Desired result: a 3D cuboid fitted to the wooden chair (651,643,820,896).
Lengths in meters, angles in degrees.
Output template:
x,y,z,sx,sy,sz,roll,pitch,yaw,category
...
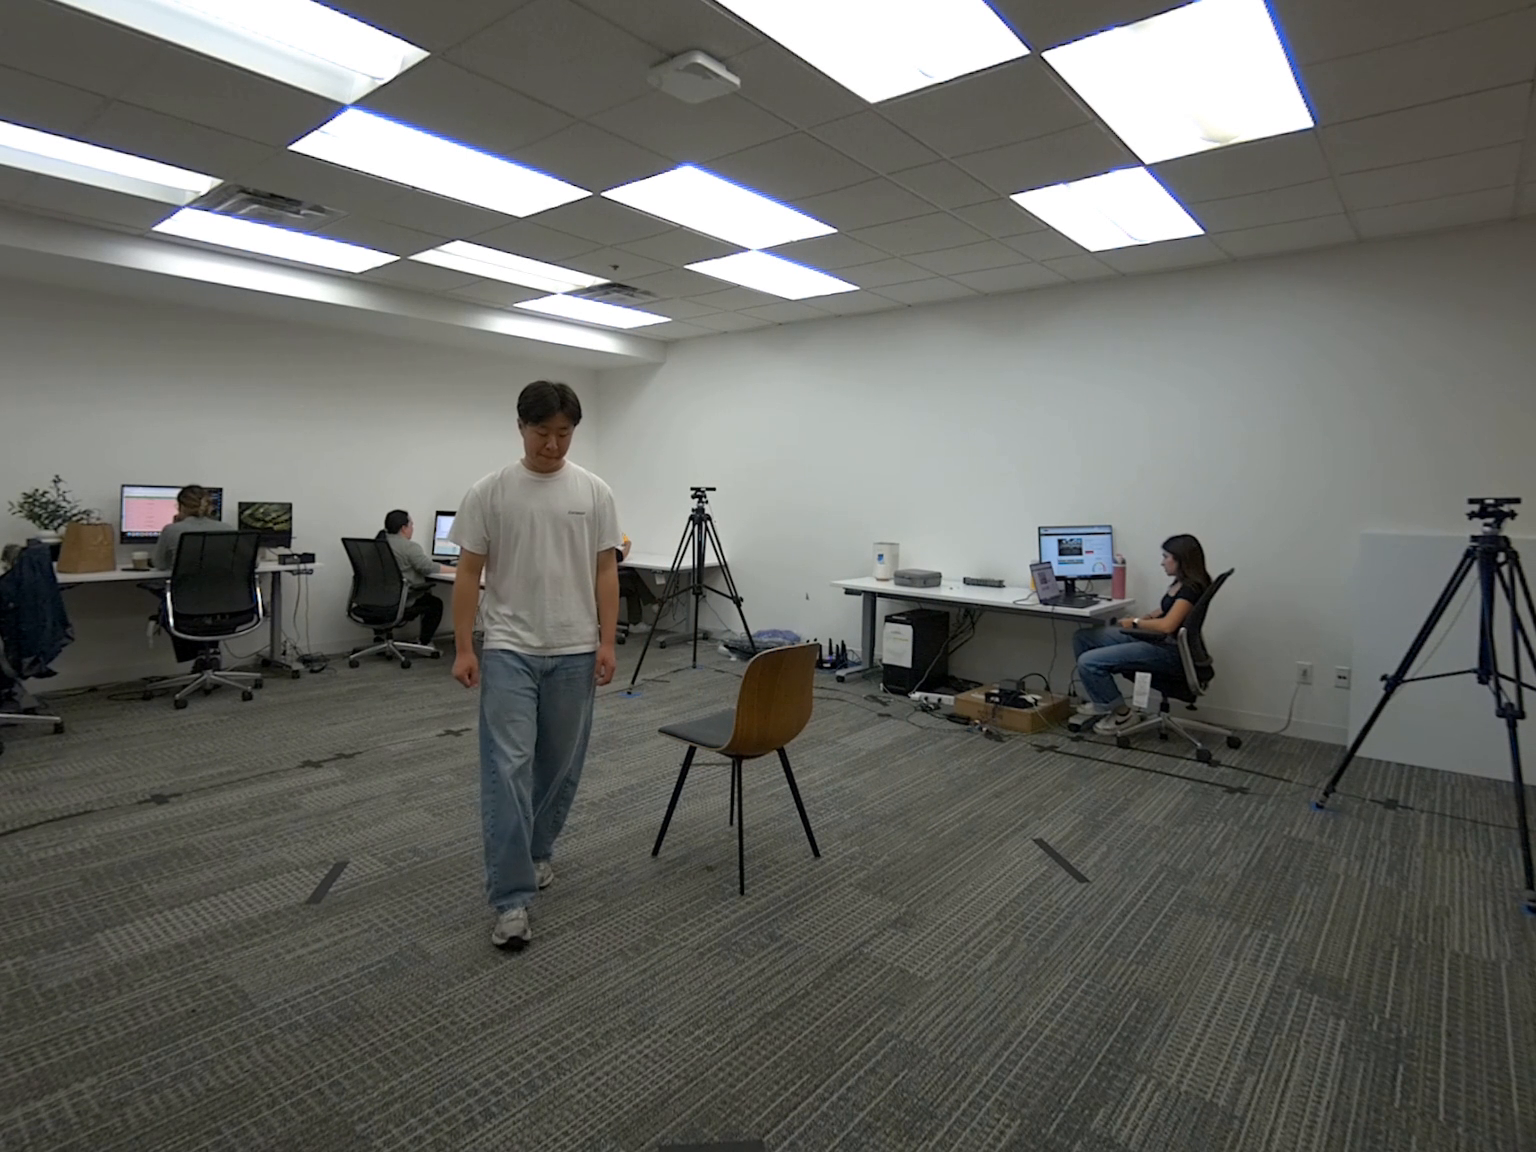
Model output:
x,y,z,sx,sy,sz,roll,pitch,yaw,category
-0.127,0.632,3.195,0.542,0.873,0.463,10,8,41,wooden chair
